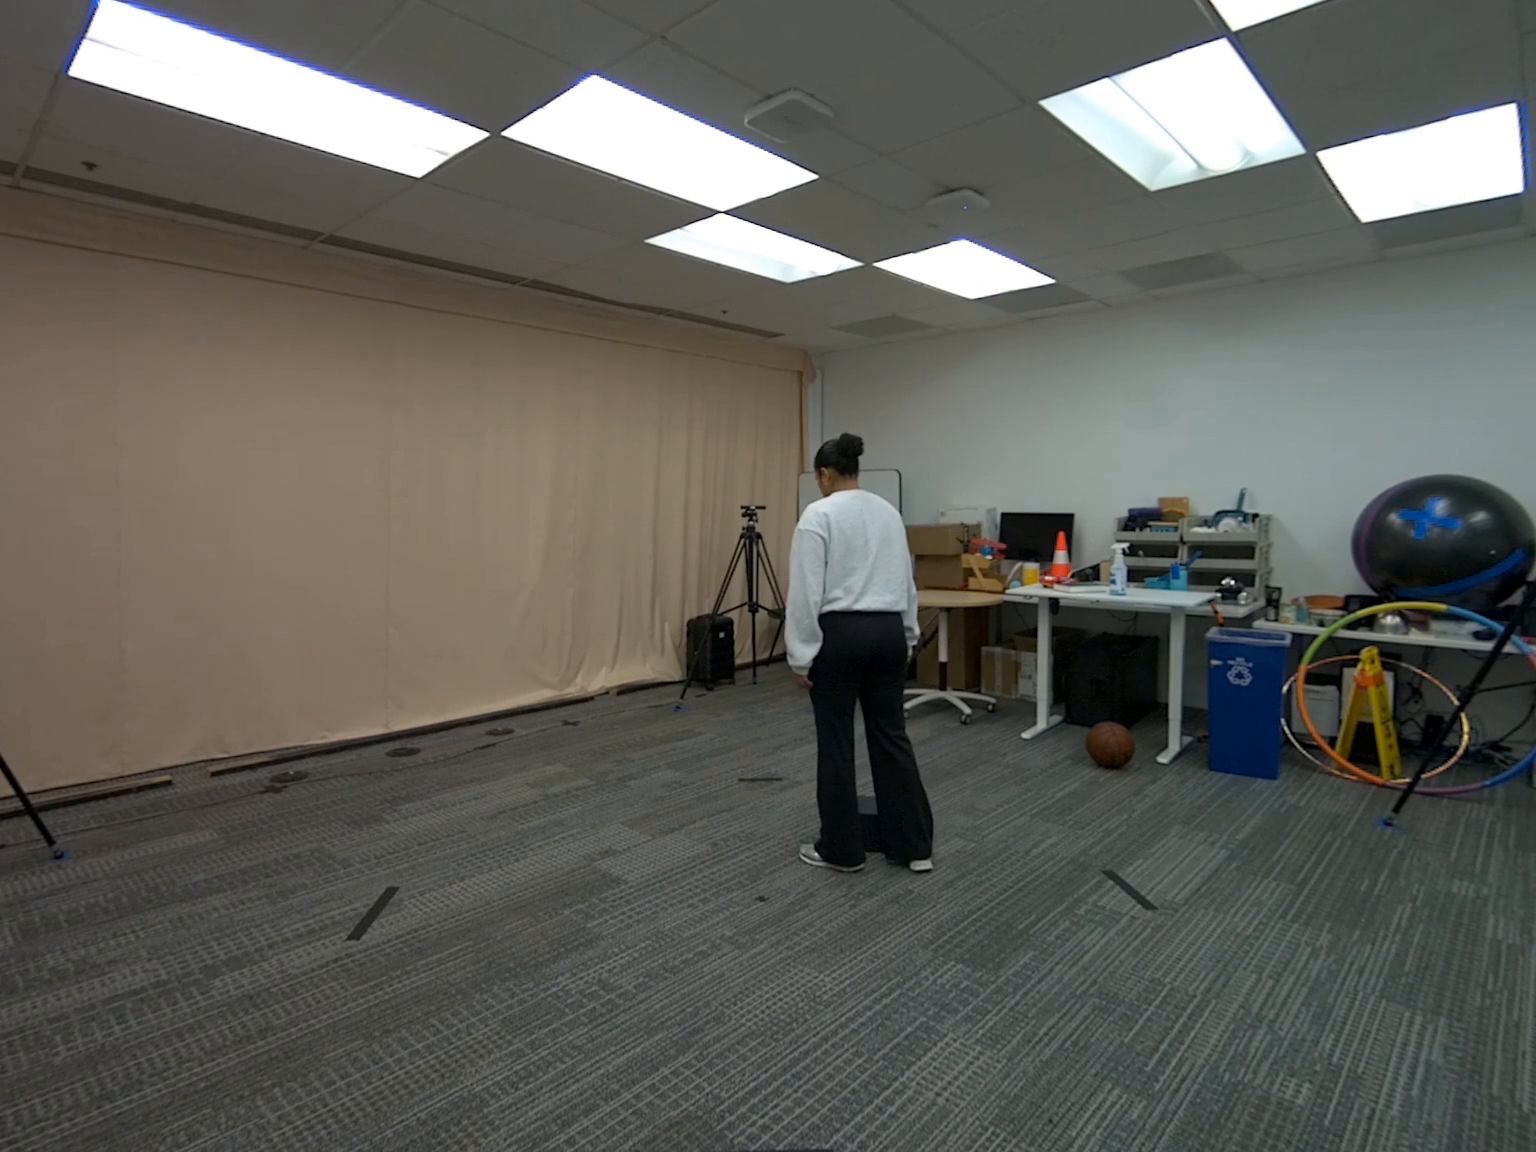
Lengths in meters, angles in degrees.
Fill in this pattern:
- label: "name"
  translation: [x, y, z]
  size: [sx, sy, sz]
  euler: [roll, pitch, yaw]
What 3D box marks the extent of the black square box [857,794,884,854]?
- label: "black square box"
  translation: [0.382, 1.018, 3.488]
  size: [0.230, 0.155, 0.216]
  euler: [0, 4, 7]
